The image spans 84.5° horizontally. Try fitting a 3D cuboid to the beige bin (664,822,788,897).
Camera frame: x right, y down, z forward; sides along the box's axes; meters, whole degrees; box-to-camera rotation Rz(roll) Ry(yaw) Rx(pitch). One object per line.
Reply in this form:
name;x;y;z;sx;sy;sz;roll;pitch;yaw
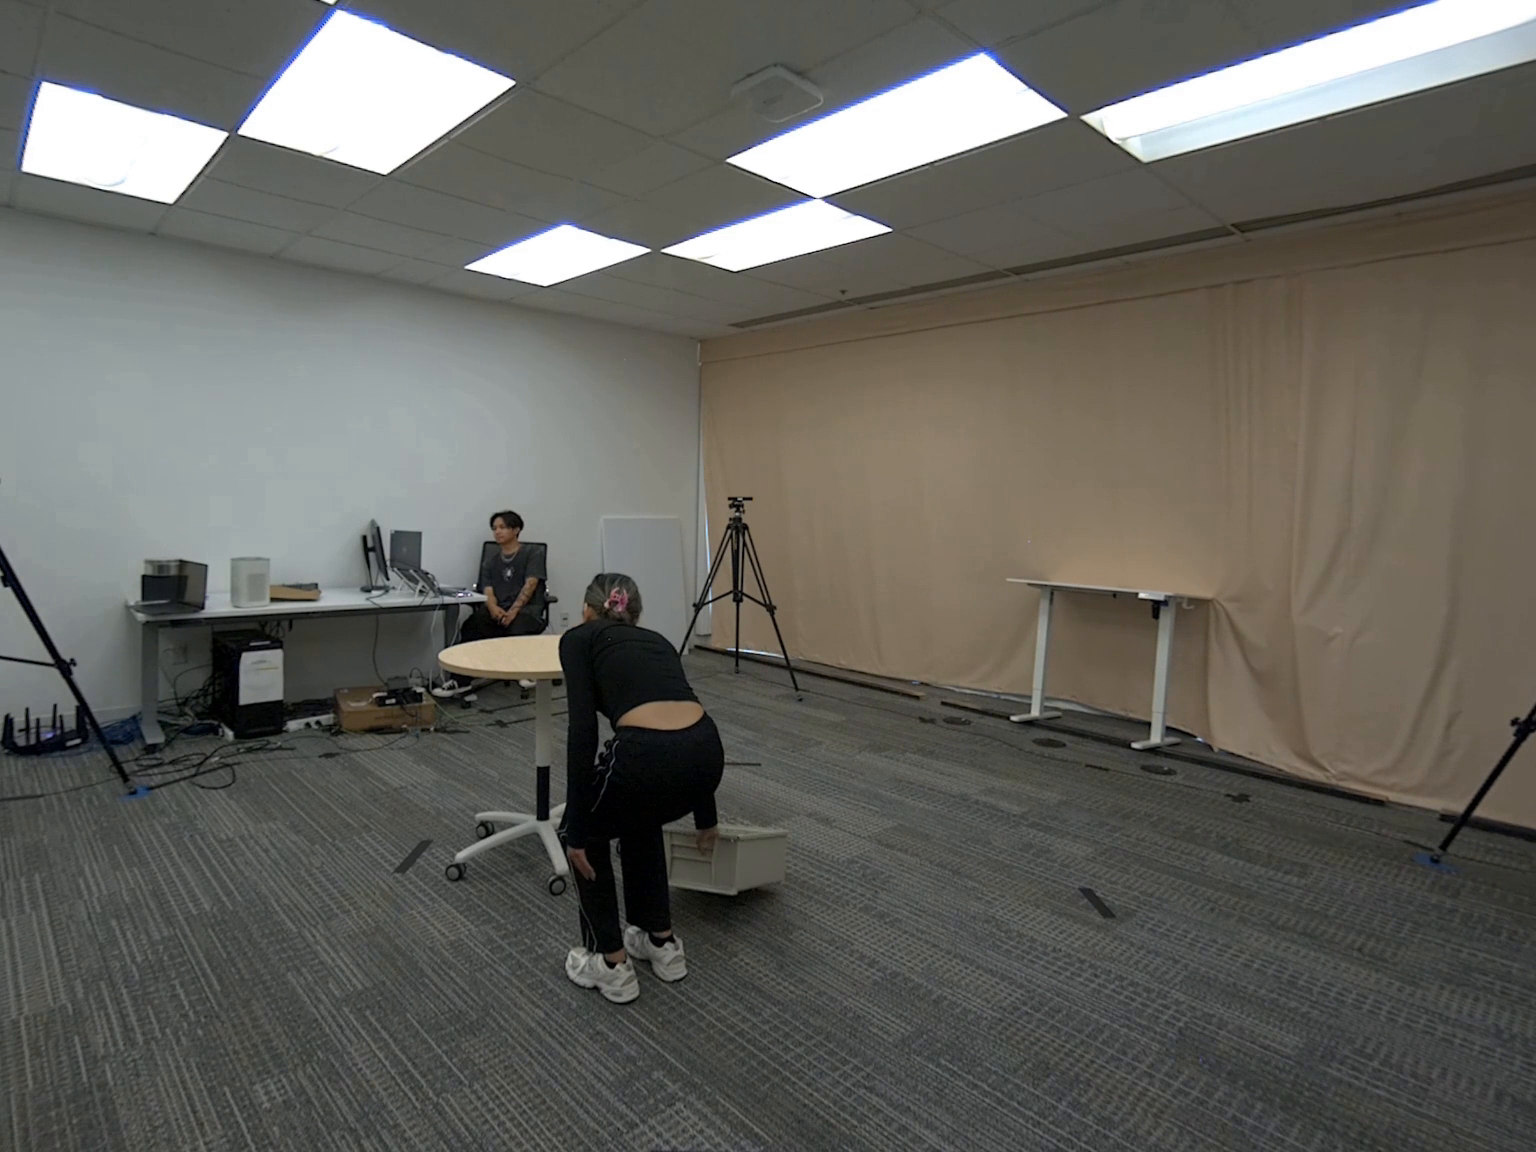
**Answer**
beige bin;-0.186;0.963;2.897;0.384;0.191;0.411;-1;-14;26
